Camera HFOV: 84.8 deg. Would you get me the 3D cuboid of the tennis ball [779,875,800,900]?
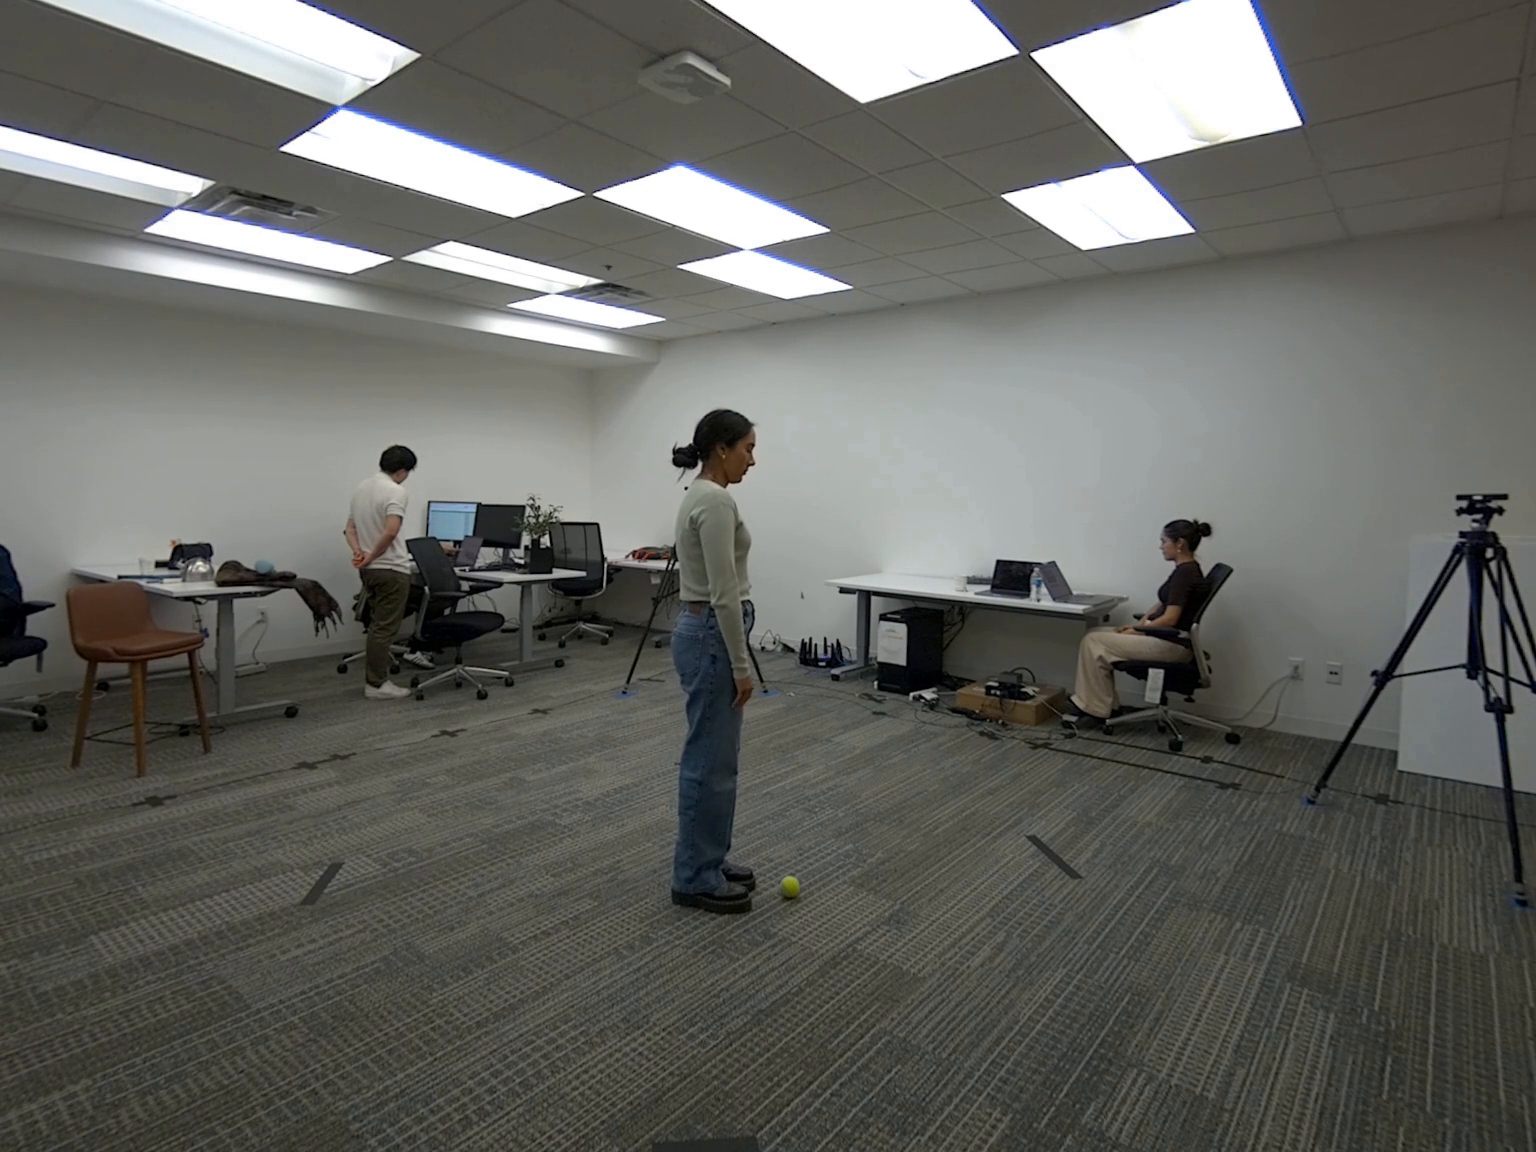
[{"bbox_3d":[0.066,1.051,2.900,0.066,0.066,0.067,1,4,-2],"label":"tennis ball"}]
